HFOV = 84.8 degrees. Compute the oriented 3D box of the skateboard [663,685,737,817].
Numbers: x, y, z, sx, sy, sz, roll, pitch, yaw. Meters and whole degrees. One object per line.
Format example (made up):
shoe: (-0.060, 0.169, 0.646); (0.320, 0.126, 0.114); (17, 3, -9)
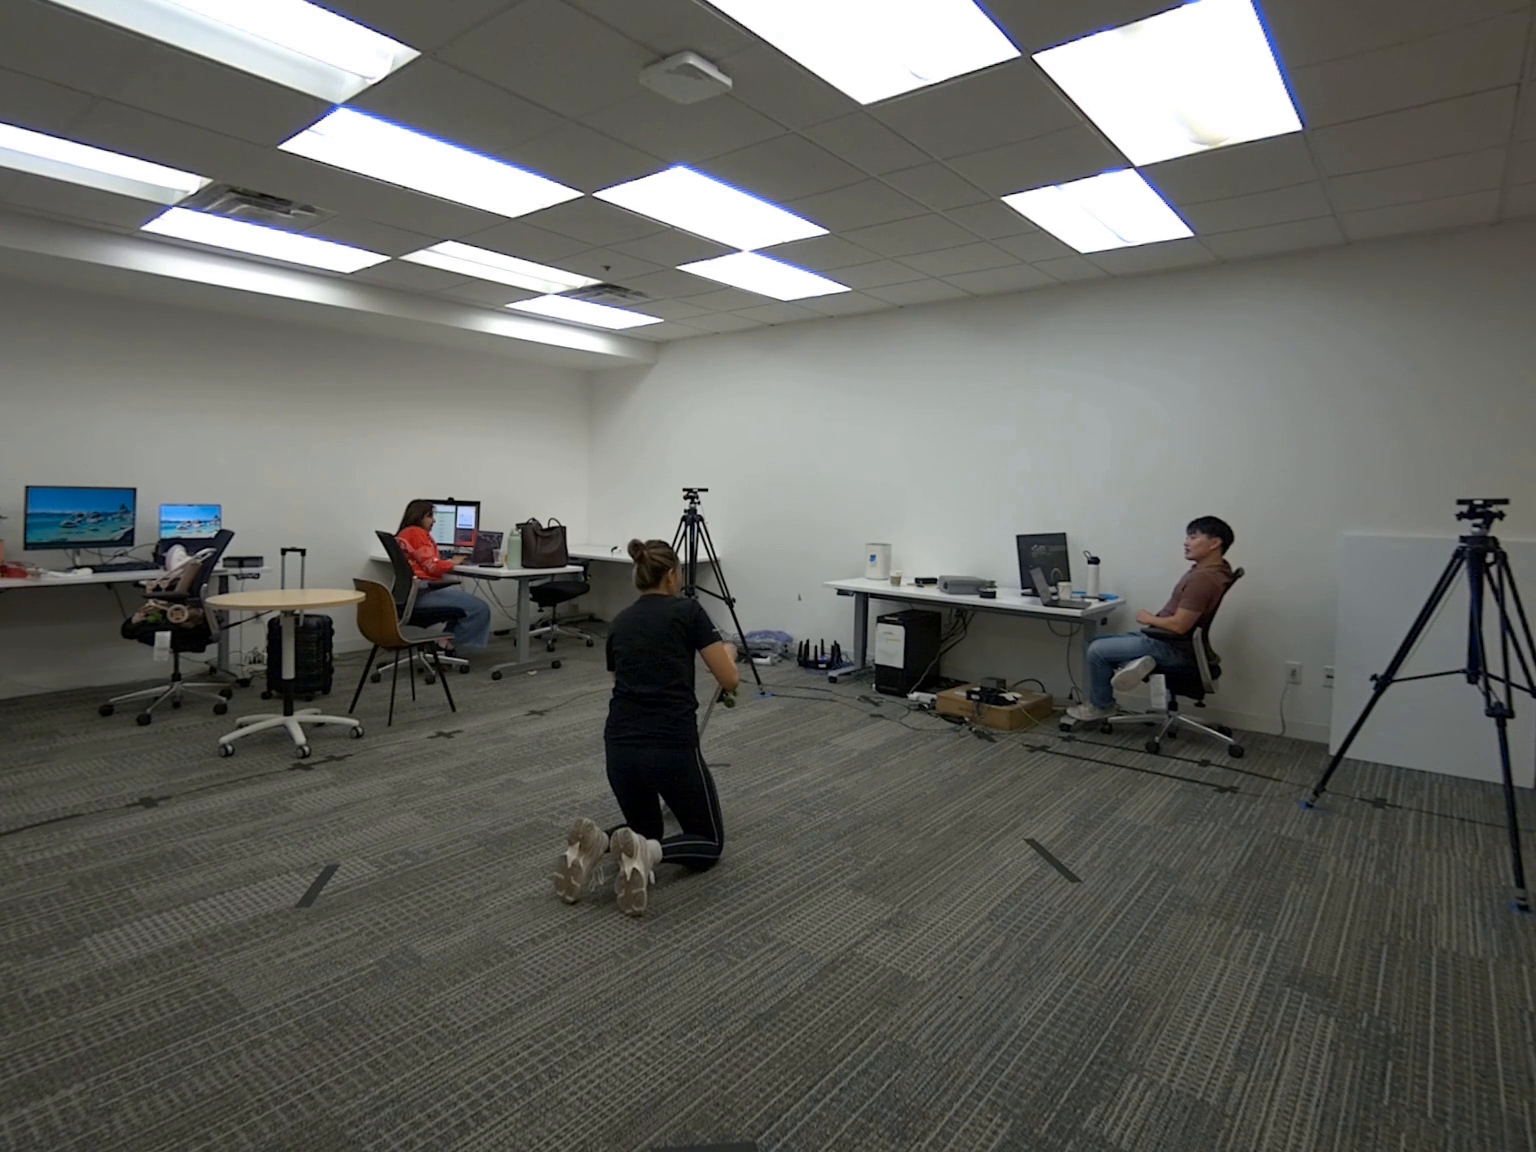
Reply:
skateboard: (-0.268, 0.674, 3.582); (0.110, 0.783, 0.194); (22, 6, -3)
